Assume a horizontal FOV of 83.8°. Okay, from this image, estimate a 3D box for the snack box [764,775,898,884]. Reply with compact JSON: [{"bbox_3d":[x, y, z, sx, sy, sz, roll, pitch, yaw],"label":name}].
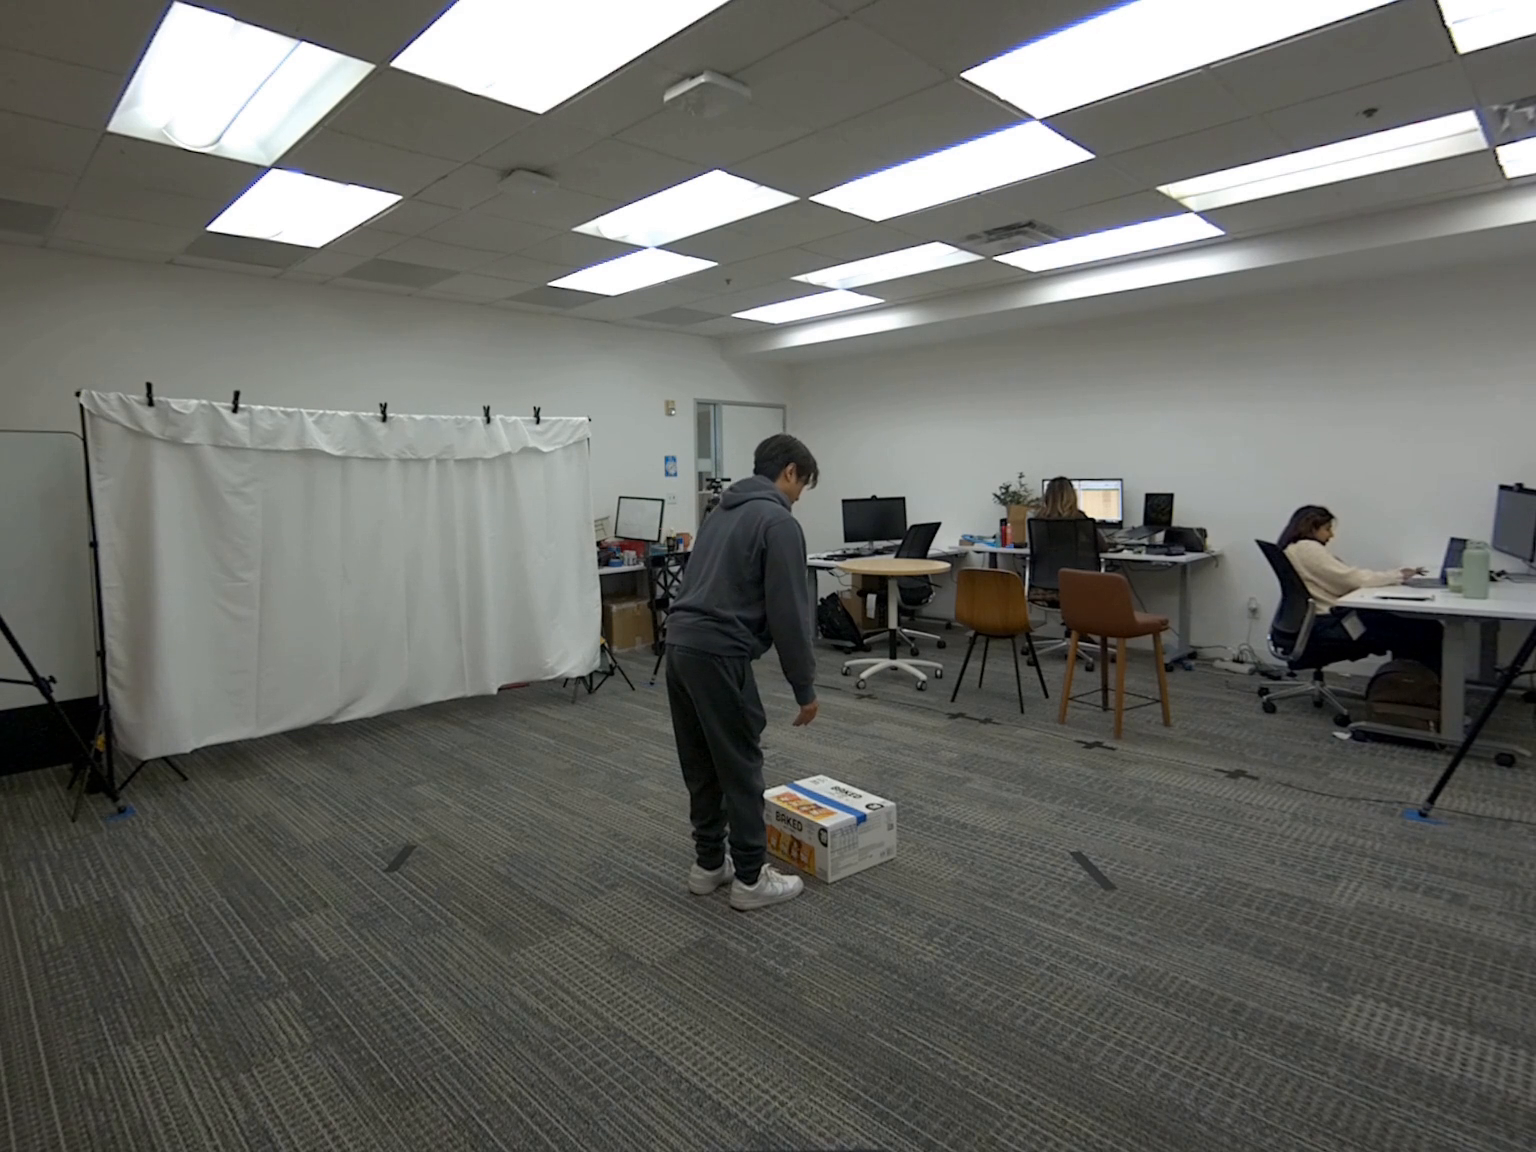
[{"bbox_3d":[0.213,0.929,3.179,0.332,0.205,0.417,-6,7,-37],"label":"snack box"}]
